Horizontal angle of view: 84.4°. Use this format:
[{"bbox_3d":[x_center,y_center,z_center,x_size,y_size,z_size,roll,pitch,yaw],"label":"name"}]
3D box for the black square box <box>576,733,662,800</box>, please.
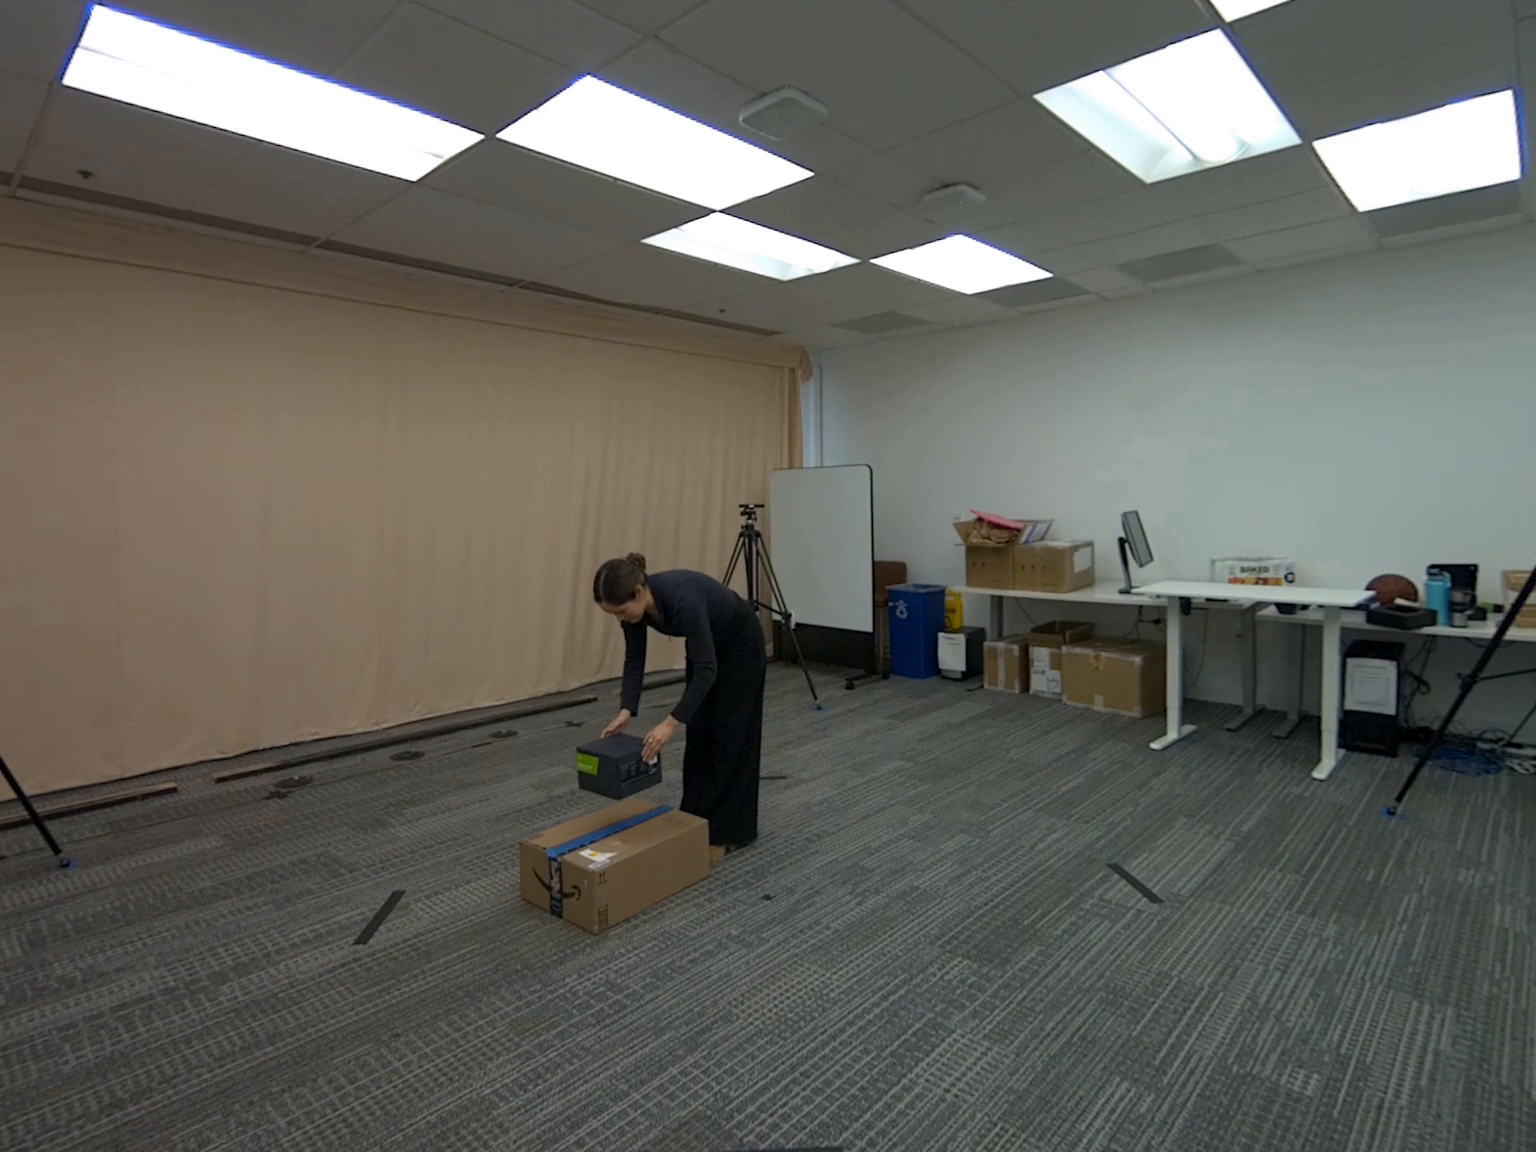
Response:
[{"bbox_3d":[-0.548,0.689,3.090,0.235,0.155,0.211,1,7,39],"label":"black square box"}]
